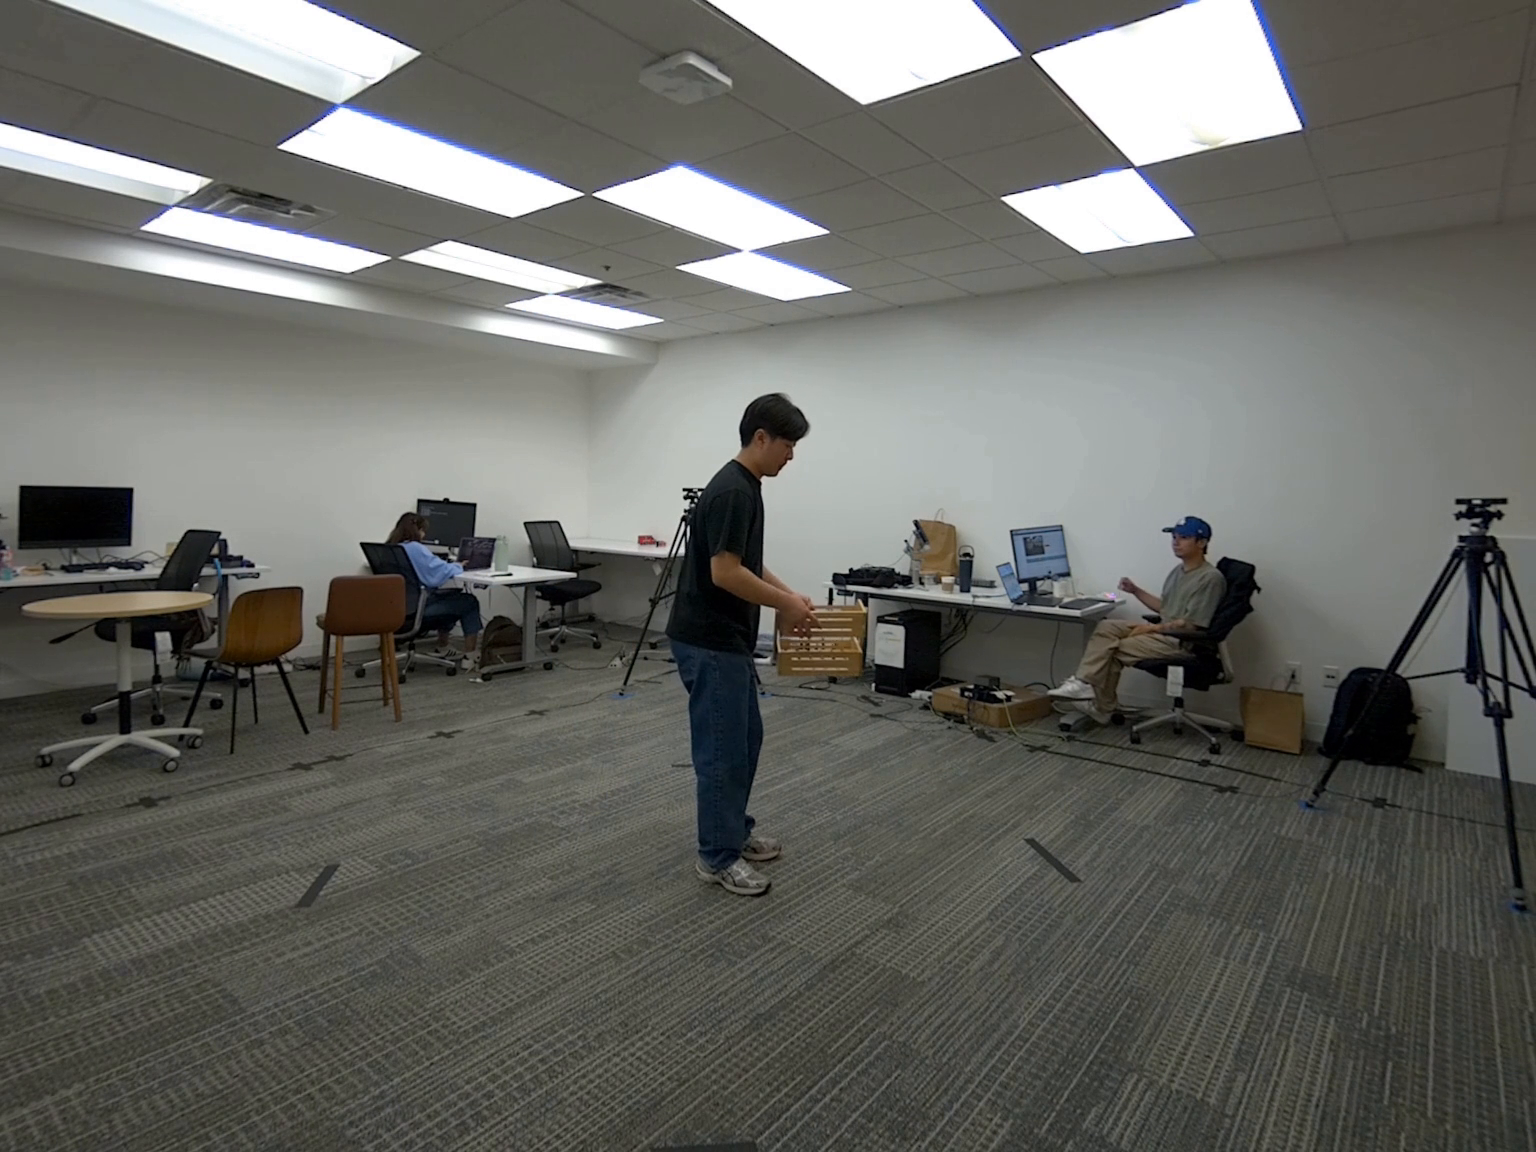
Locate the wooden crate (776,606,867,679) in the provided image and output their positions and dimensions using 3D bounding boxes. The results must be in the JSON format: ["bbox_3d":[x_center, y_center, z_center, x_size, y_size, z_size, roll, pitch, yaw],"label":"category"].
[{"bbox_3d":[0.174,0.213,3.120,0.324,0.270,0.306,0,13,-2],"label":"wooden crate"}]
